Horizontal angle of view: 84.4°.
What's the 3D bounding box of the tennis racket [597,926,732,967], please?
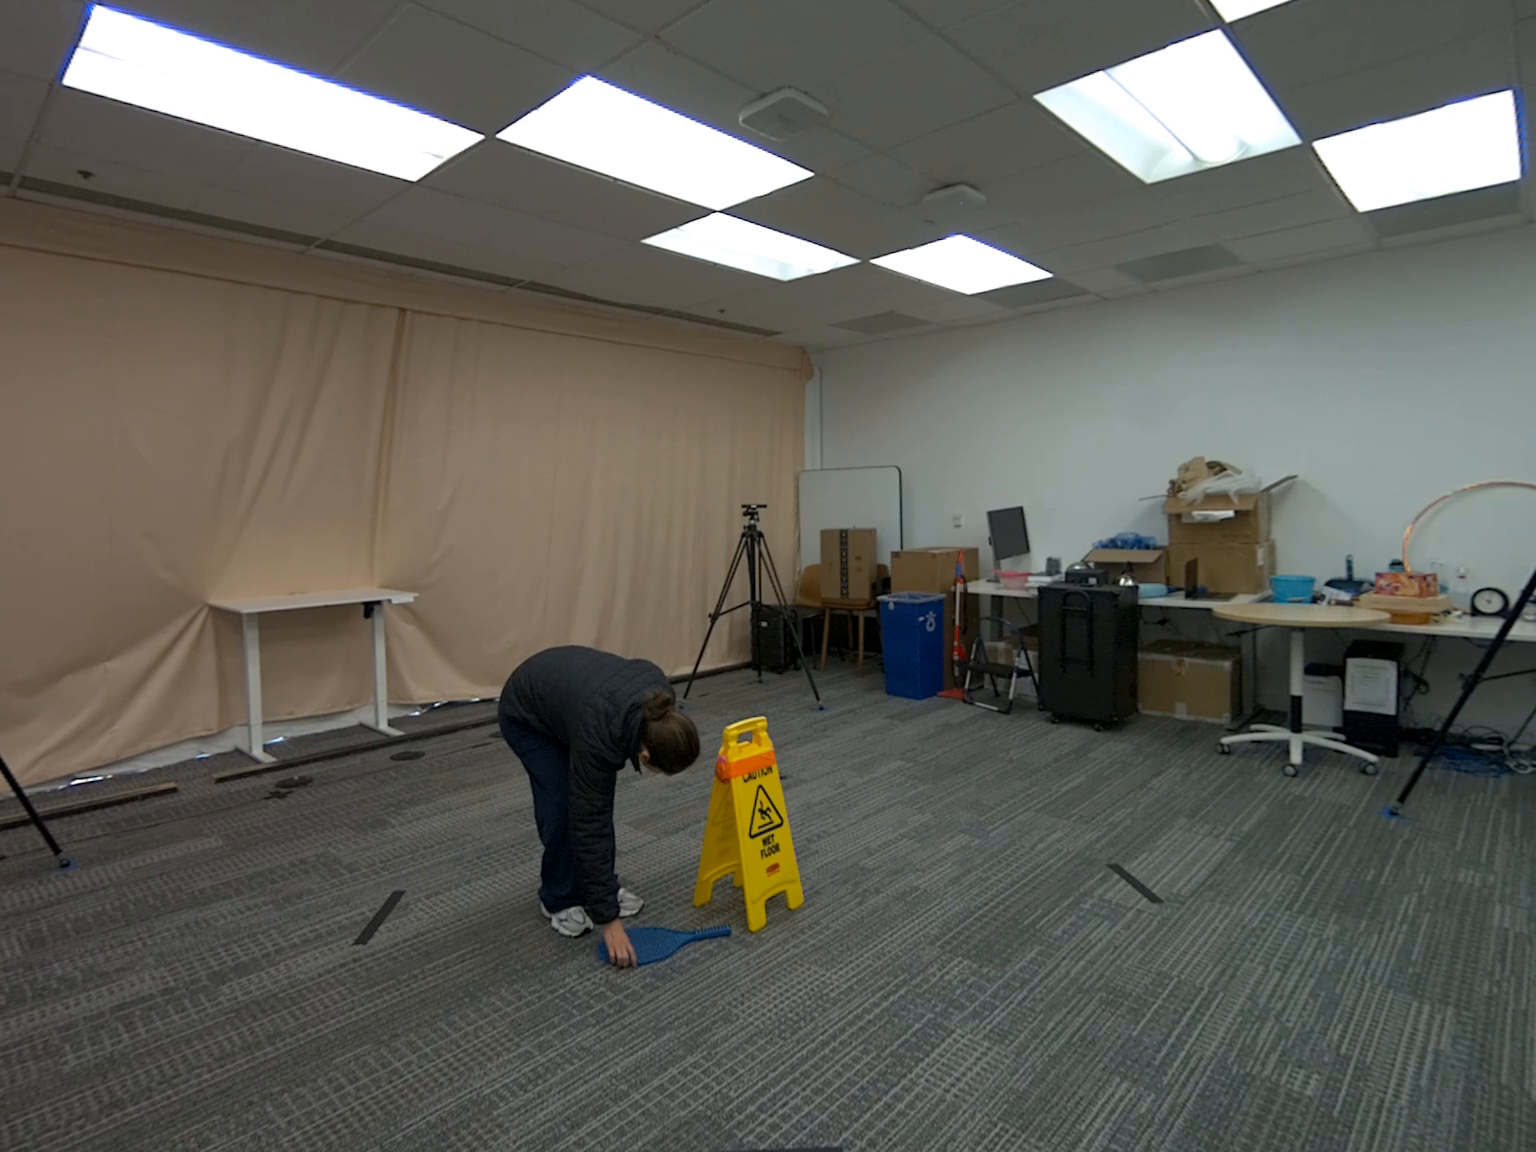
[{"bbox_3d":[-0.313,1.159,2.677,0.427,0.031,0.217,-3,6,-14],"label":"tennis racket"}]
